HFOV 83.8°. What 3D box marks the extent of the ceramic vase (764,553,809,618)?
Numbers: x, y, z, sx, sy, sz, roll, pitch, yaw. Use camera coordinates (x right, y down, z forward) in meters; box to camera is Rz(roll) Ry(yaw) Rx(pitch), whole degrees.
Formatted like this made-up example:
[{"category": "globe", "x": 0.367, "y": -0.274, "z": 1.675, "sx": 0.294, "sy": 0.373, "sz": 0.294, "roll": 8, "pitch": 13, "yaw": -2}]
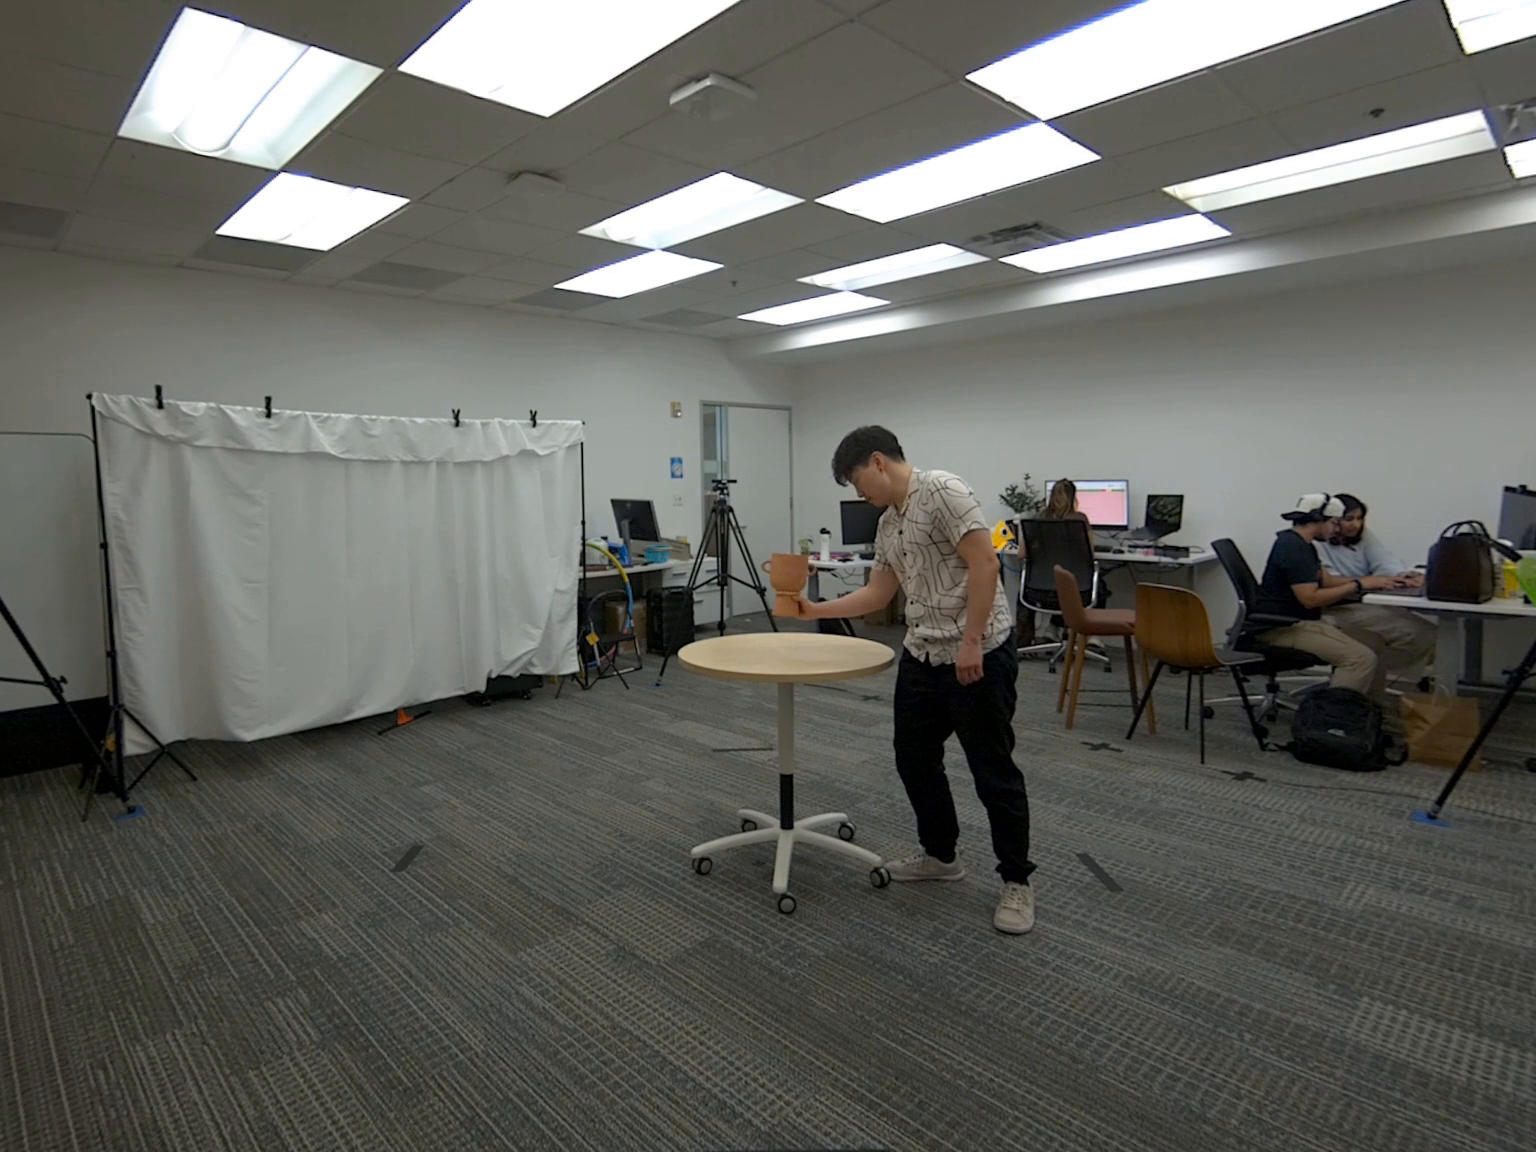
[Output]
[{"category": "ceramic vase", "x": 0.080, "y": 0.029, "z": 3.064, "sx": 0.163, "sy": 0.220, "sz": 0.130, "roll": 3, "pitch": -1, "yaw": 37}]
